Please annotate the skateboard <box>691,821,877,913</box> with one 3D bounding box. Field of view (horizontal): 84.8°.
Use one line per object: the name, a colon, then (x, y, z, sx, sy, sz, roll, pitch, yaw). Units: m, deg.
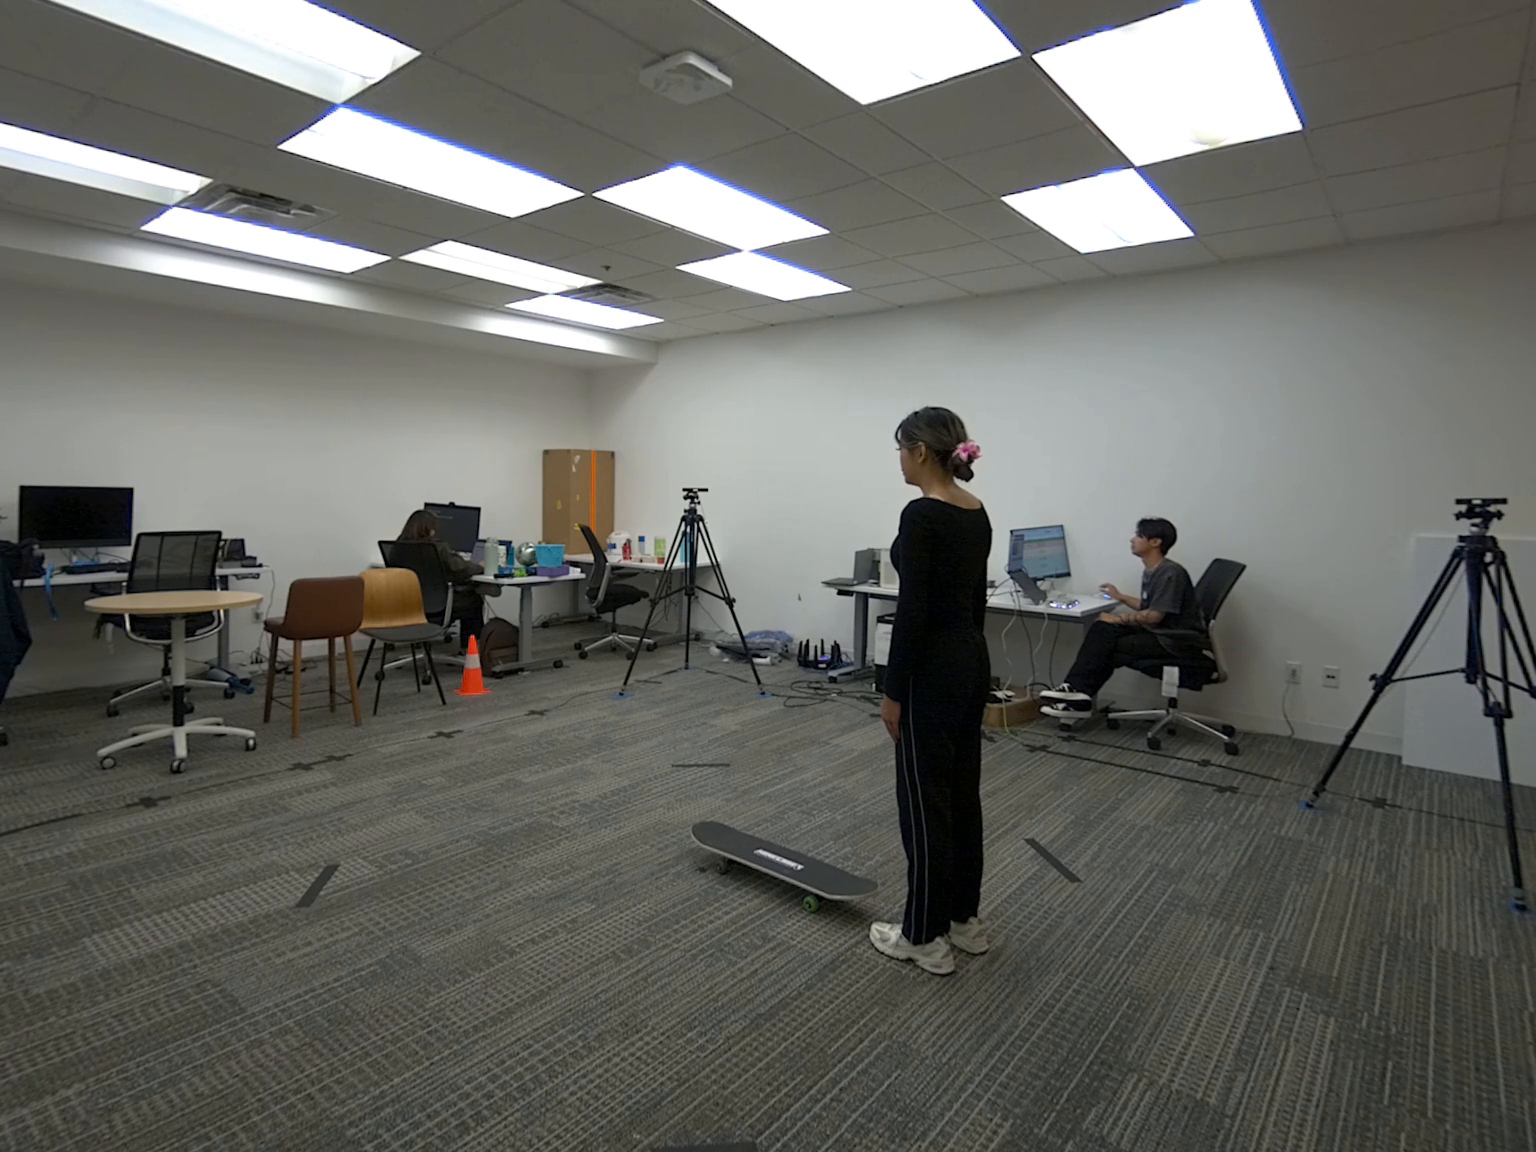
skateboard: (0.030, 1.029, 3.000, 0.812, 0.110, 0.188, 6, 7, 40)
